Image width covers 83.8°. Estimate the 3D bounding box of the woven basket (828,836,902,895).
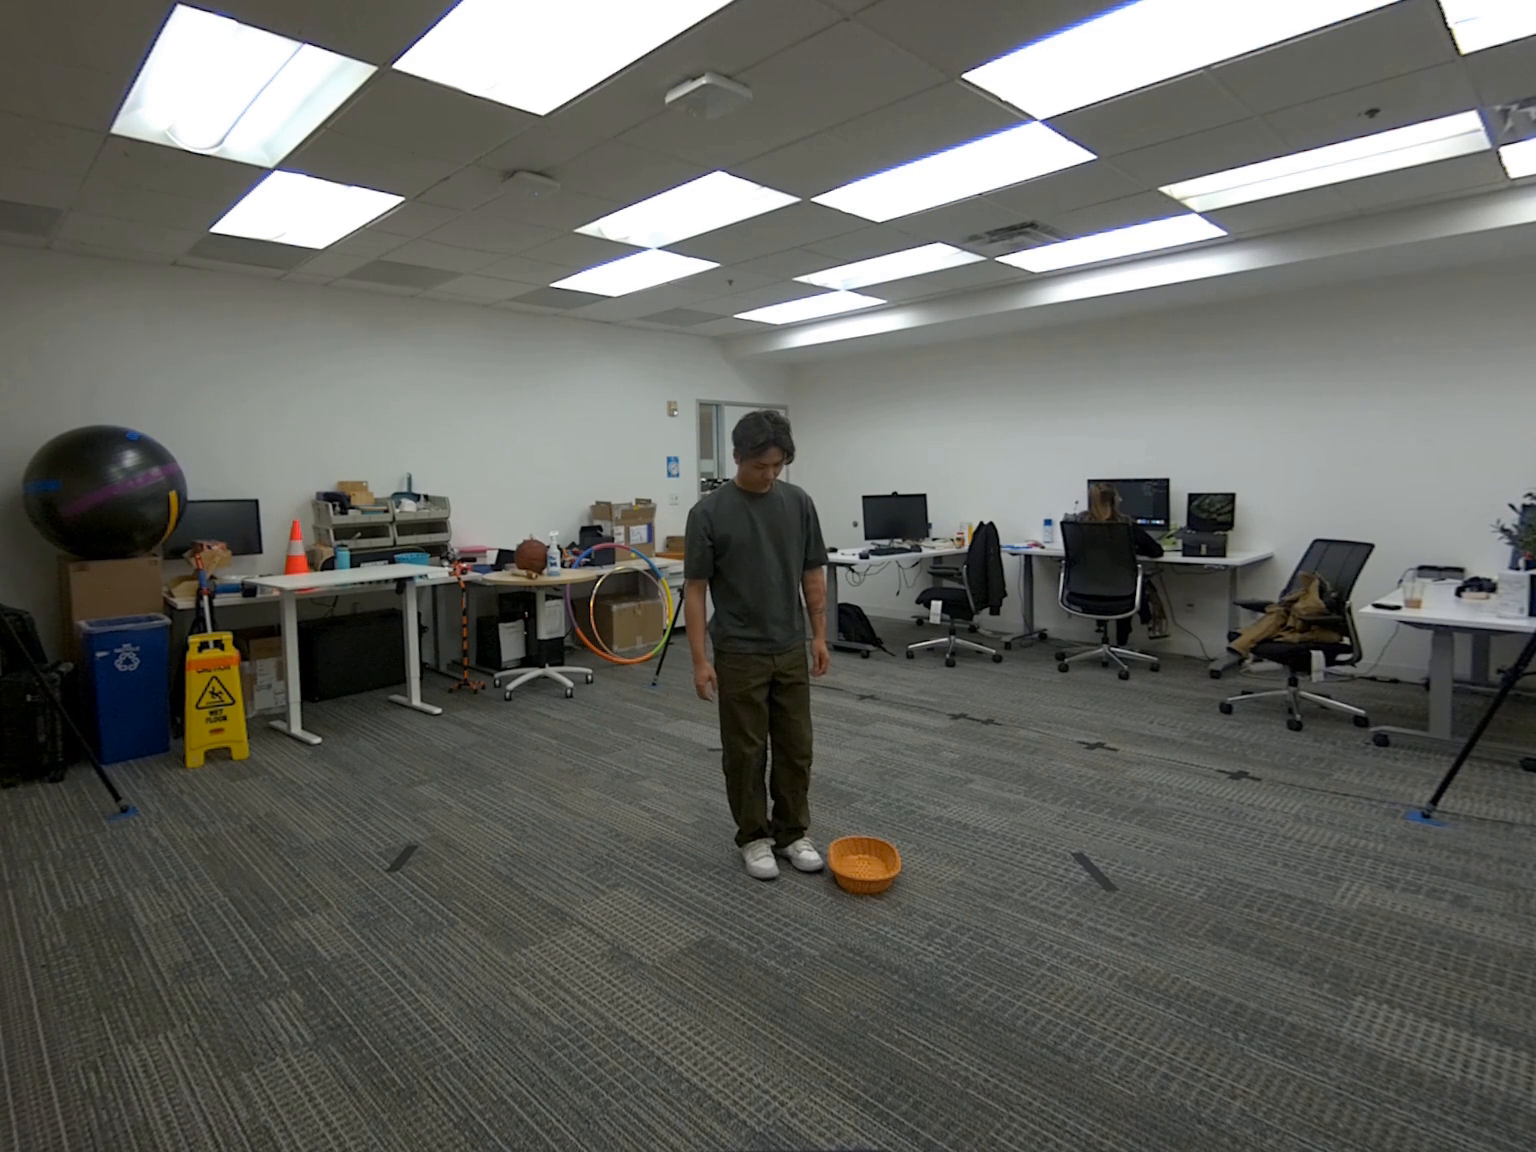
[{"bbox_3d":[0.338,1.011,2.991,0.255,0.073,0.349,0,6,8],"label":"woven basket"}]
